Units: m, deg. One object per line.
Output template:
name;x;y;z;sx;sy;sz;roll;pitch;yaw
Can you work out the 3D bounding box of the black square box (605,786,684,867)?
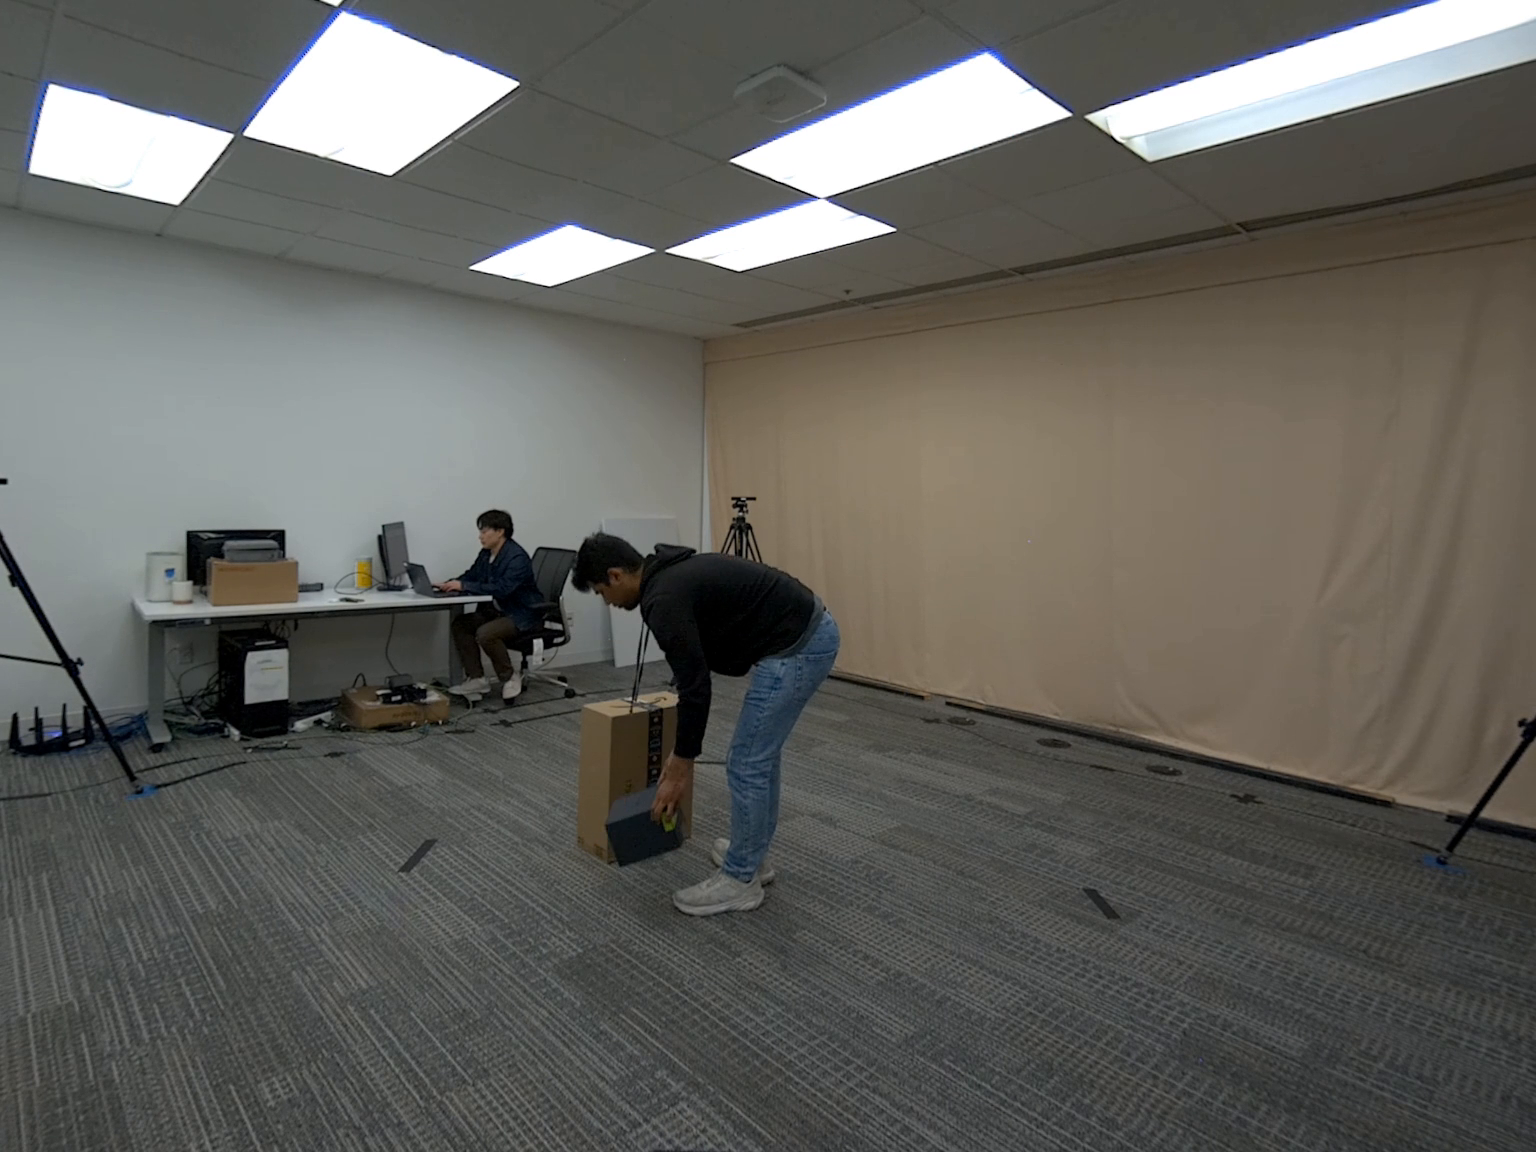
black square box;-0.441;0.826;2.854;0.217;0.155;0.229;-15;5;0
